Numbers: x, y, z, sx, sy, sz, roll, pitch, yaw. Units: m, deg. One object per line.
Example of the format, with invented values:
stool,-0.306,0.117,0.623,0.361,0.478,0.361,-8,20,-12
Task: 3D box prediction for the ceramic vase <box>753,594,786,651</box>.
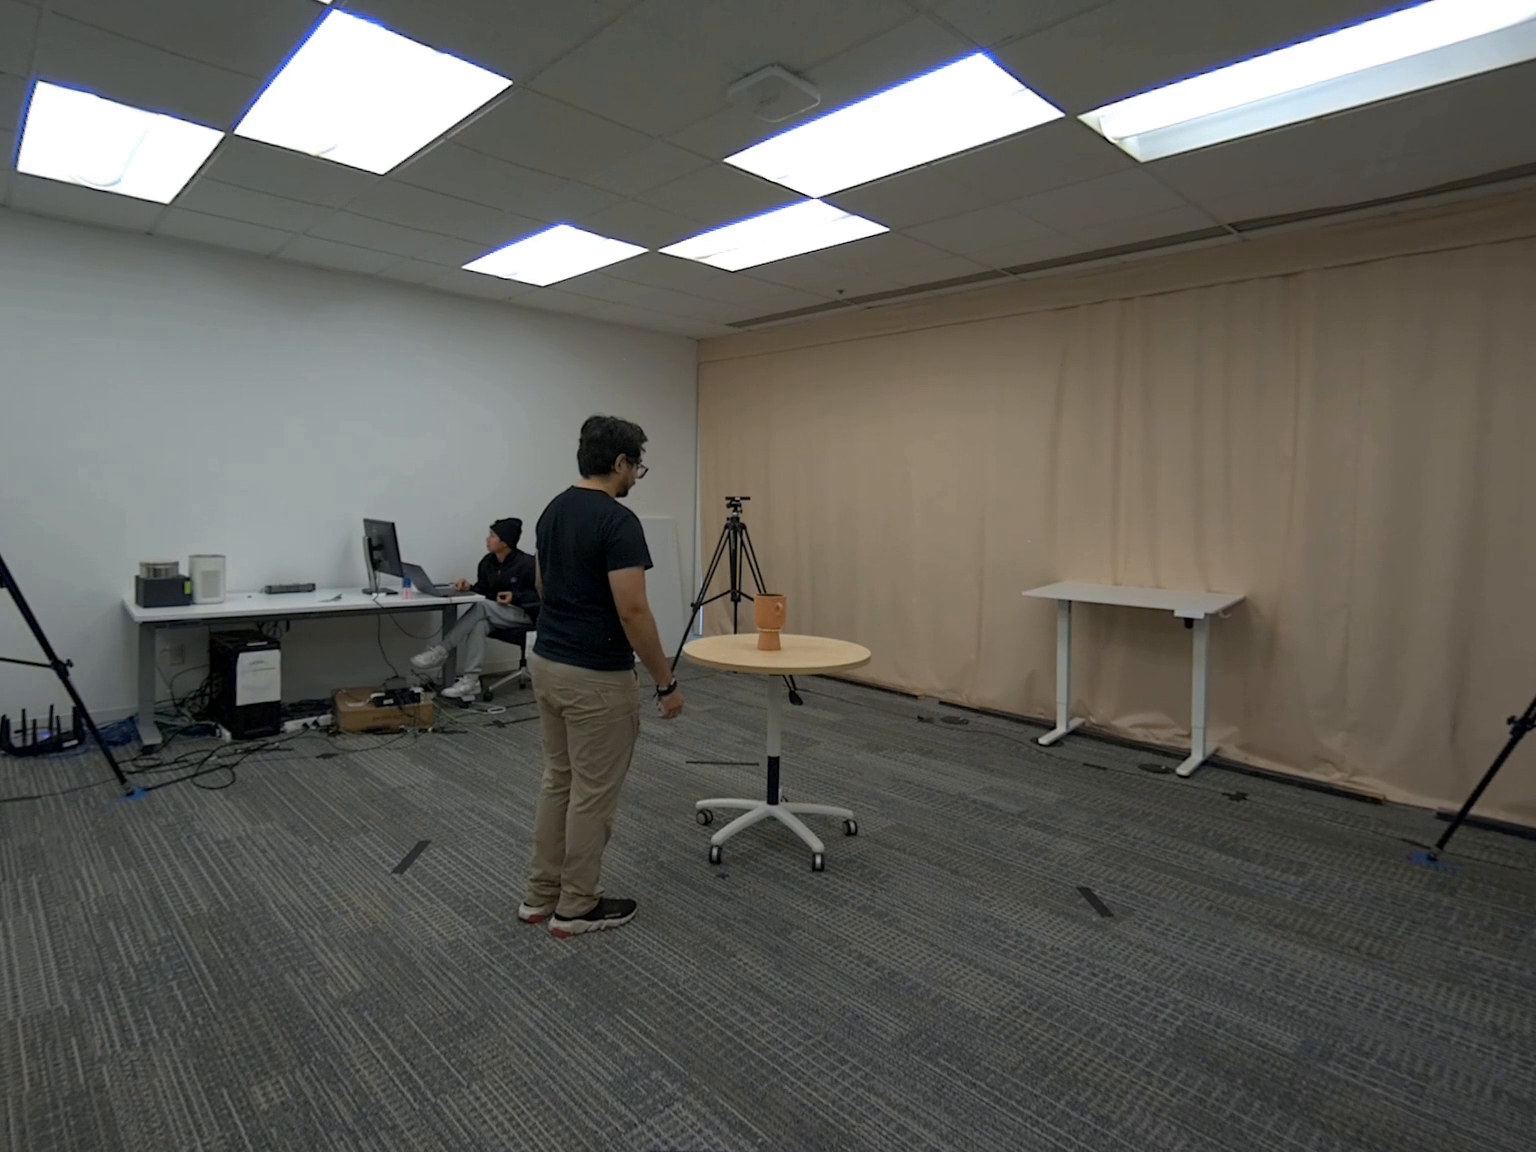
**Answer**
ceramic vase,0.003,0.191,3.445,0.136,0.219,0.157,1,2,11
